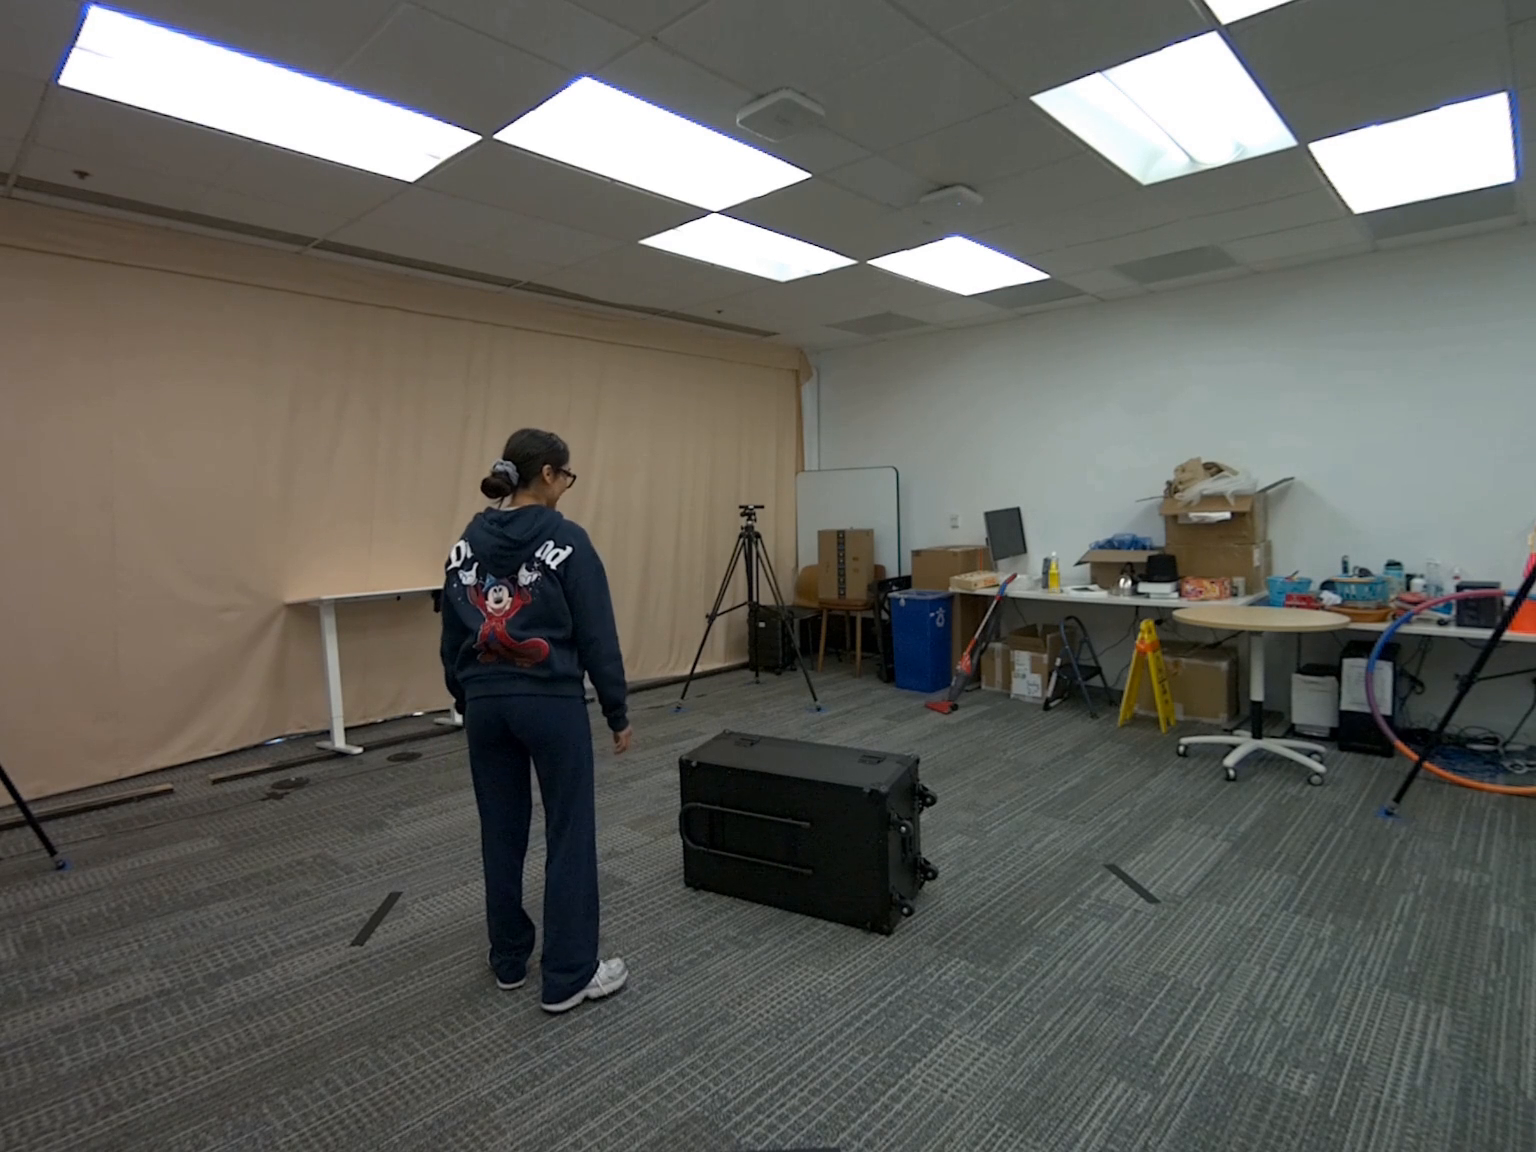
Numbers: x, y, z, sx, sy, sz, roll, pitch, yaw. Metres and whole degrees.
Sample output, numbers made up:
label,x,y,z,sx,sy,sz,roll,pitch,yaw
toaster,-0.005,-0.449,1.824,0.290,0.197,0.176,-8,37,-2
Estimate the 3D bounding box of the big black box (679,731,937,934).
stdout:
label,x,y,z,sx,sy,sz,roll,pitch,yaw
big black box,0.137,0.882,2.995,0.885,0.519,0.387,1,7,28
